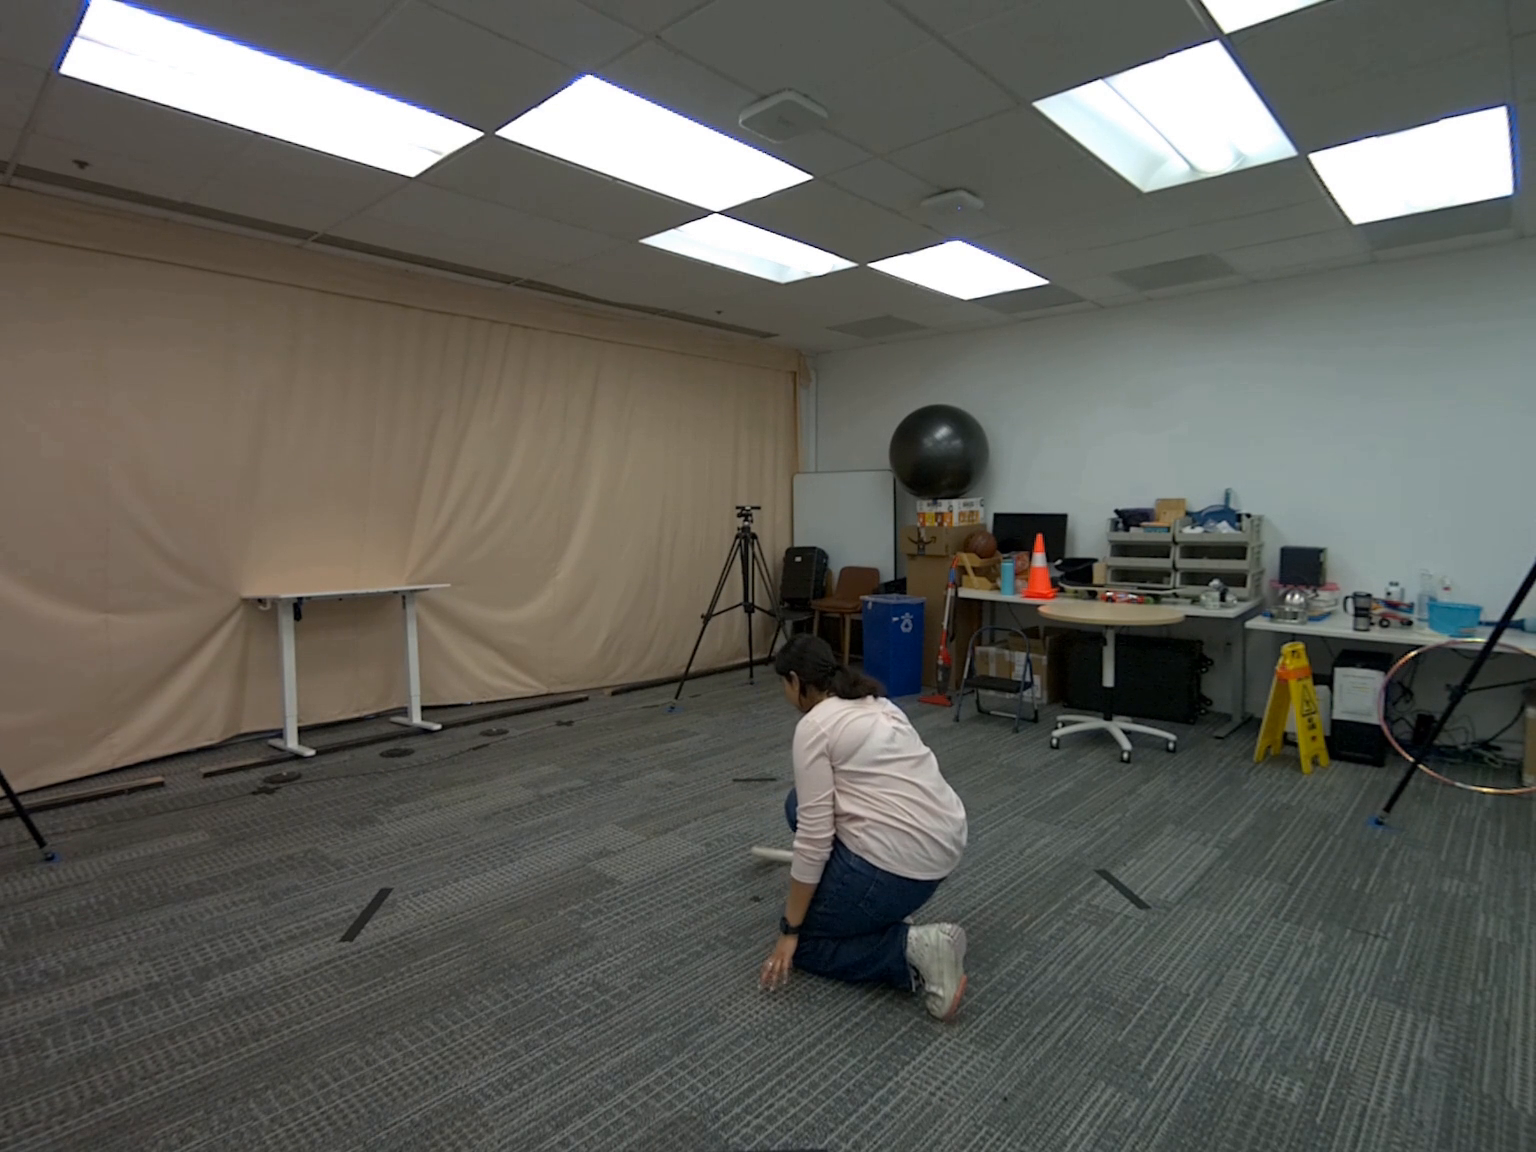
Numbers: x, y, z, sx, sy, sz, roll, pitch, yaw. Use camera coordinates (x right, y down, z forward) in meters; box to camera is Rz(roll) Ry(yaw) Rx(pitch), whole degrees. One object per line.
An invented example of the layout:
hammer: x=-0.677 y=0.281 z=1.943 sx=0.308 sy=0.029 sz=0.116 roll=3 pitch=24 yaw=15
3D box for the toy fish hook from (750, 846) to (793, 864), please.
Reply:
toy fish hook: x=0.157 y=1.043 z=3.102 sx=0.521 sy=0.048 sz=0.216 roll=-7 pitch=-18 yaw=44
